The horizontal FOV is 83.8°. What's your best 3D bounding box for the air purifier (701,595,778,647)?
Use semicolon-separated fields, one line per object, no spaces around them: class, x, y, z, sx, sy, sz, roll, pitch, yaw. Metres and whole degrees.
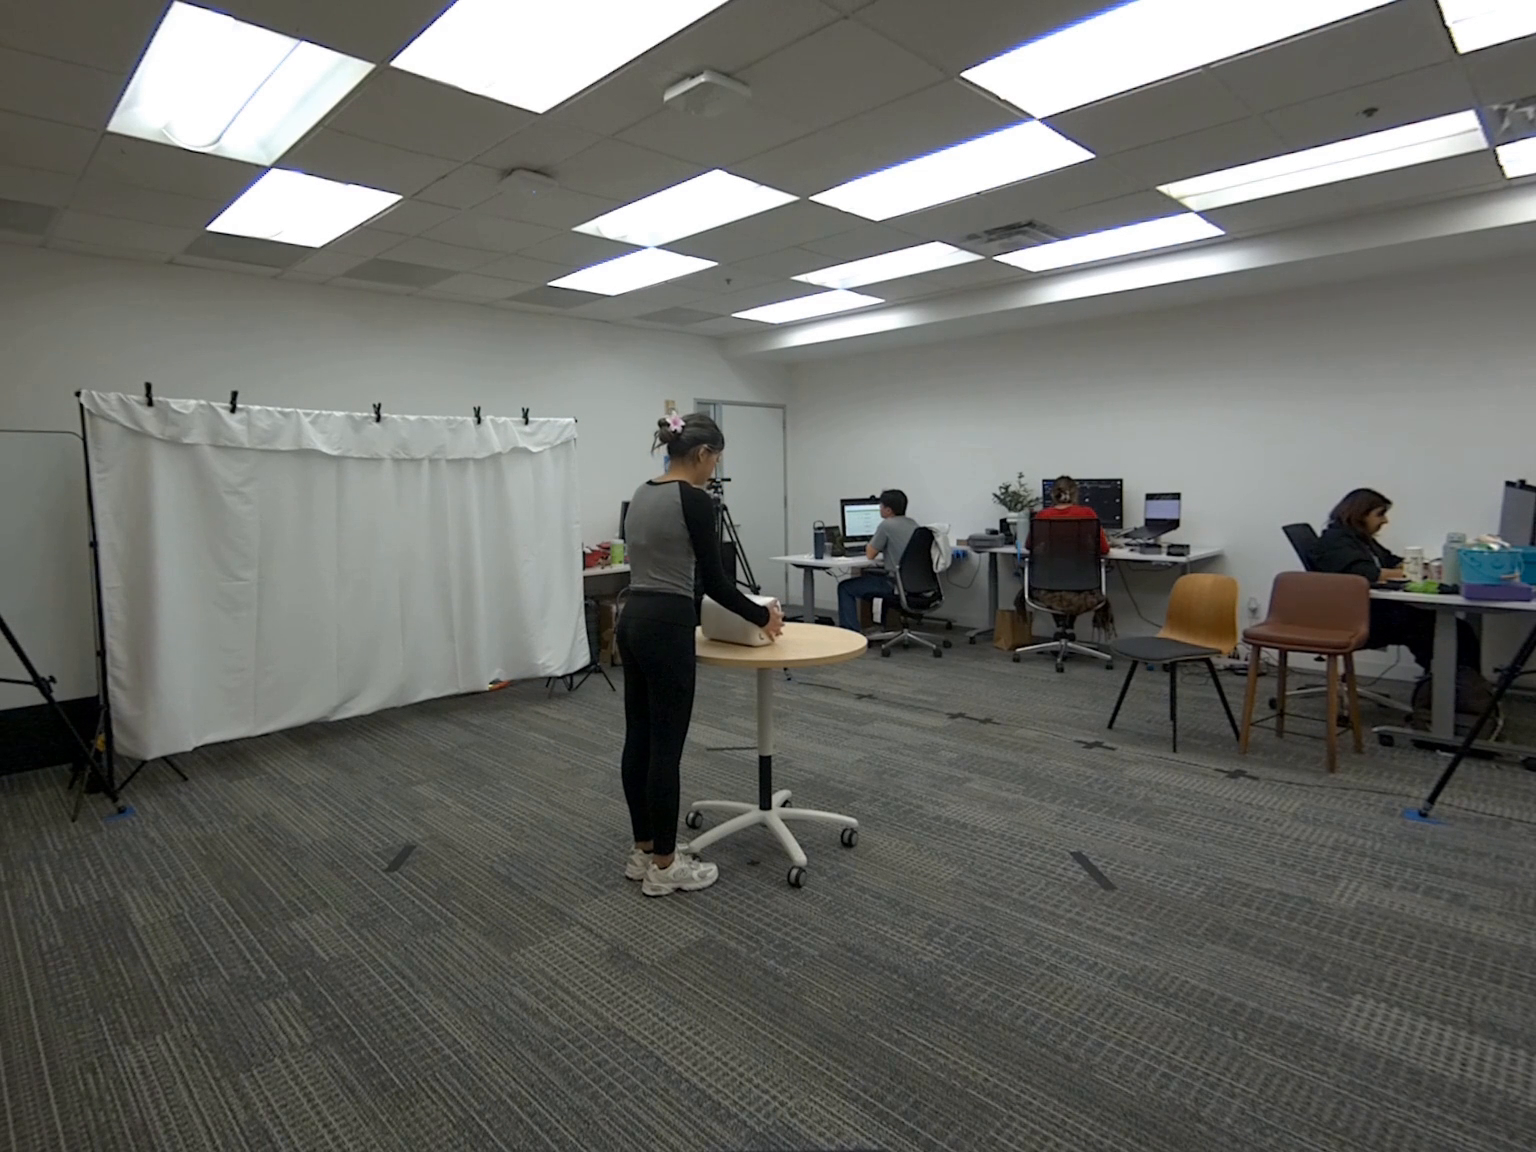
air purifier;-0.093;0.154;3.153;0.273;0.170;0.167;5;9;41
